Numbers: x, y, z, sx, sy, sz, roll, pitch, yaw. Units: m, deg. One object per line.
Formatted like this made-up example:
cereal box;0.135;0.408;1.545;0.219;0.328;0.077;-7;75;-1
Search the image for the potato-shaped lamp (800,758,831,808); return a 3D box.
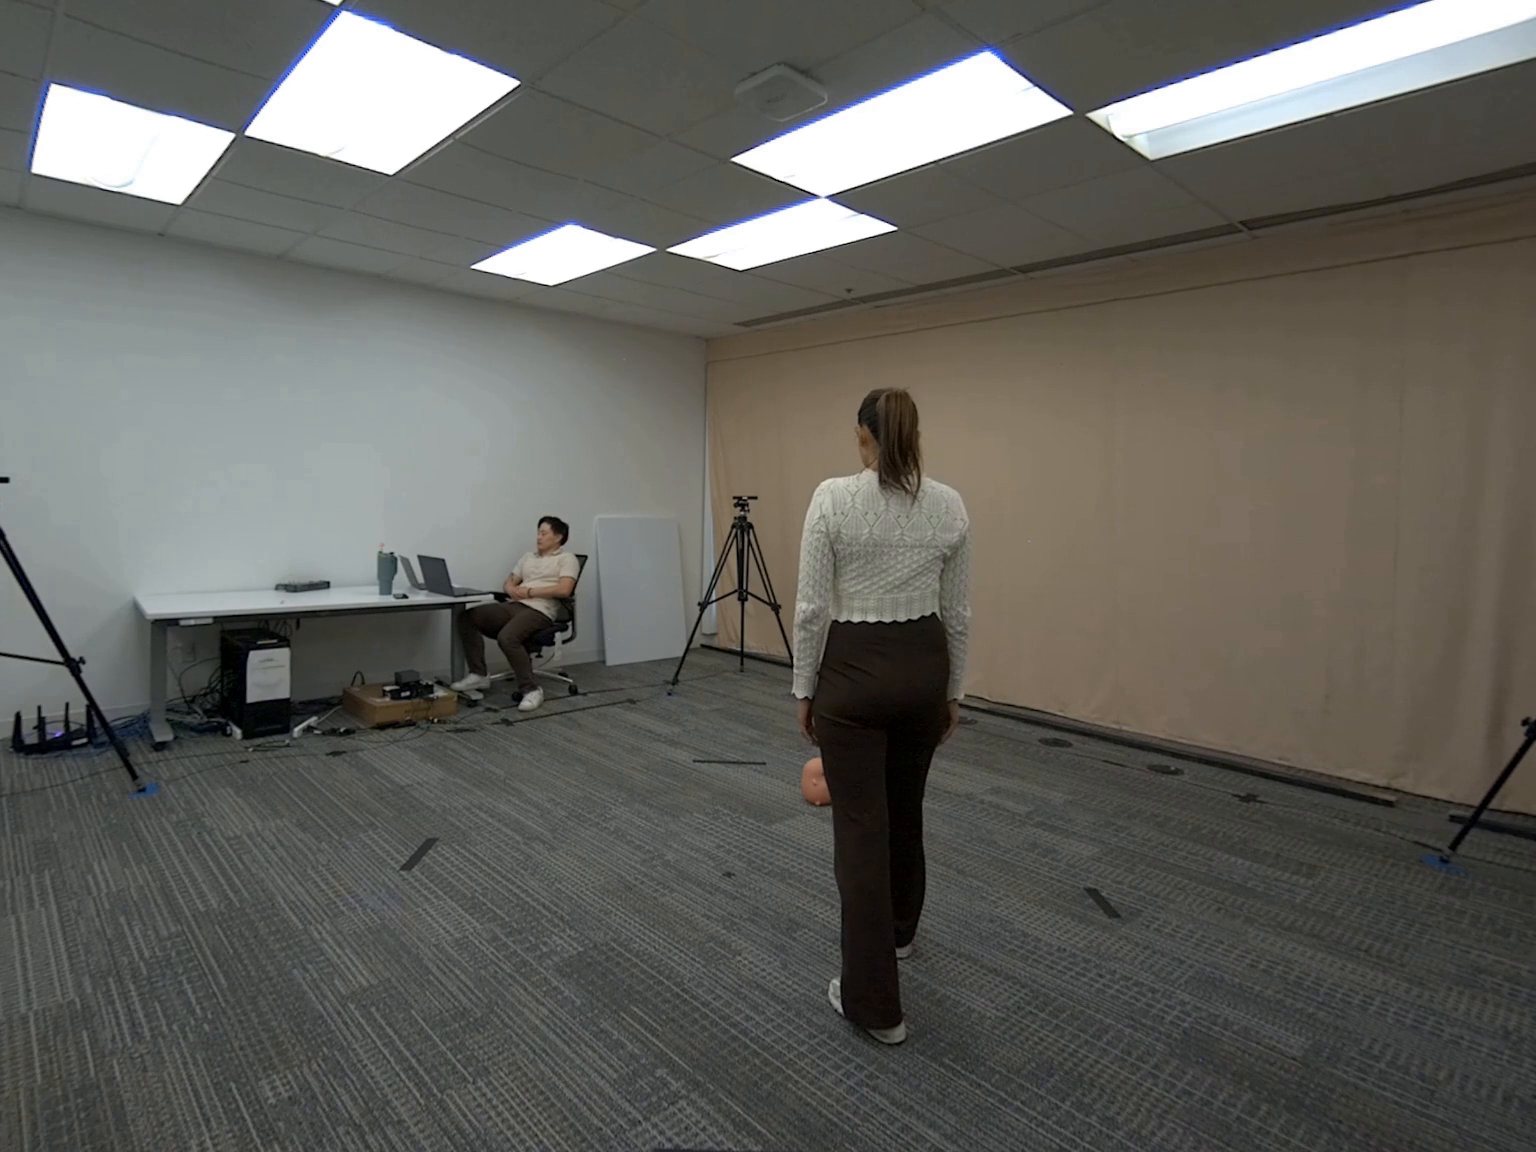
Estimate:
potato-shaped lamp;0.225;0.943;3.903;0.161;0.198;0.175;-2;3;-32
